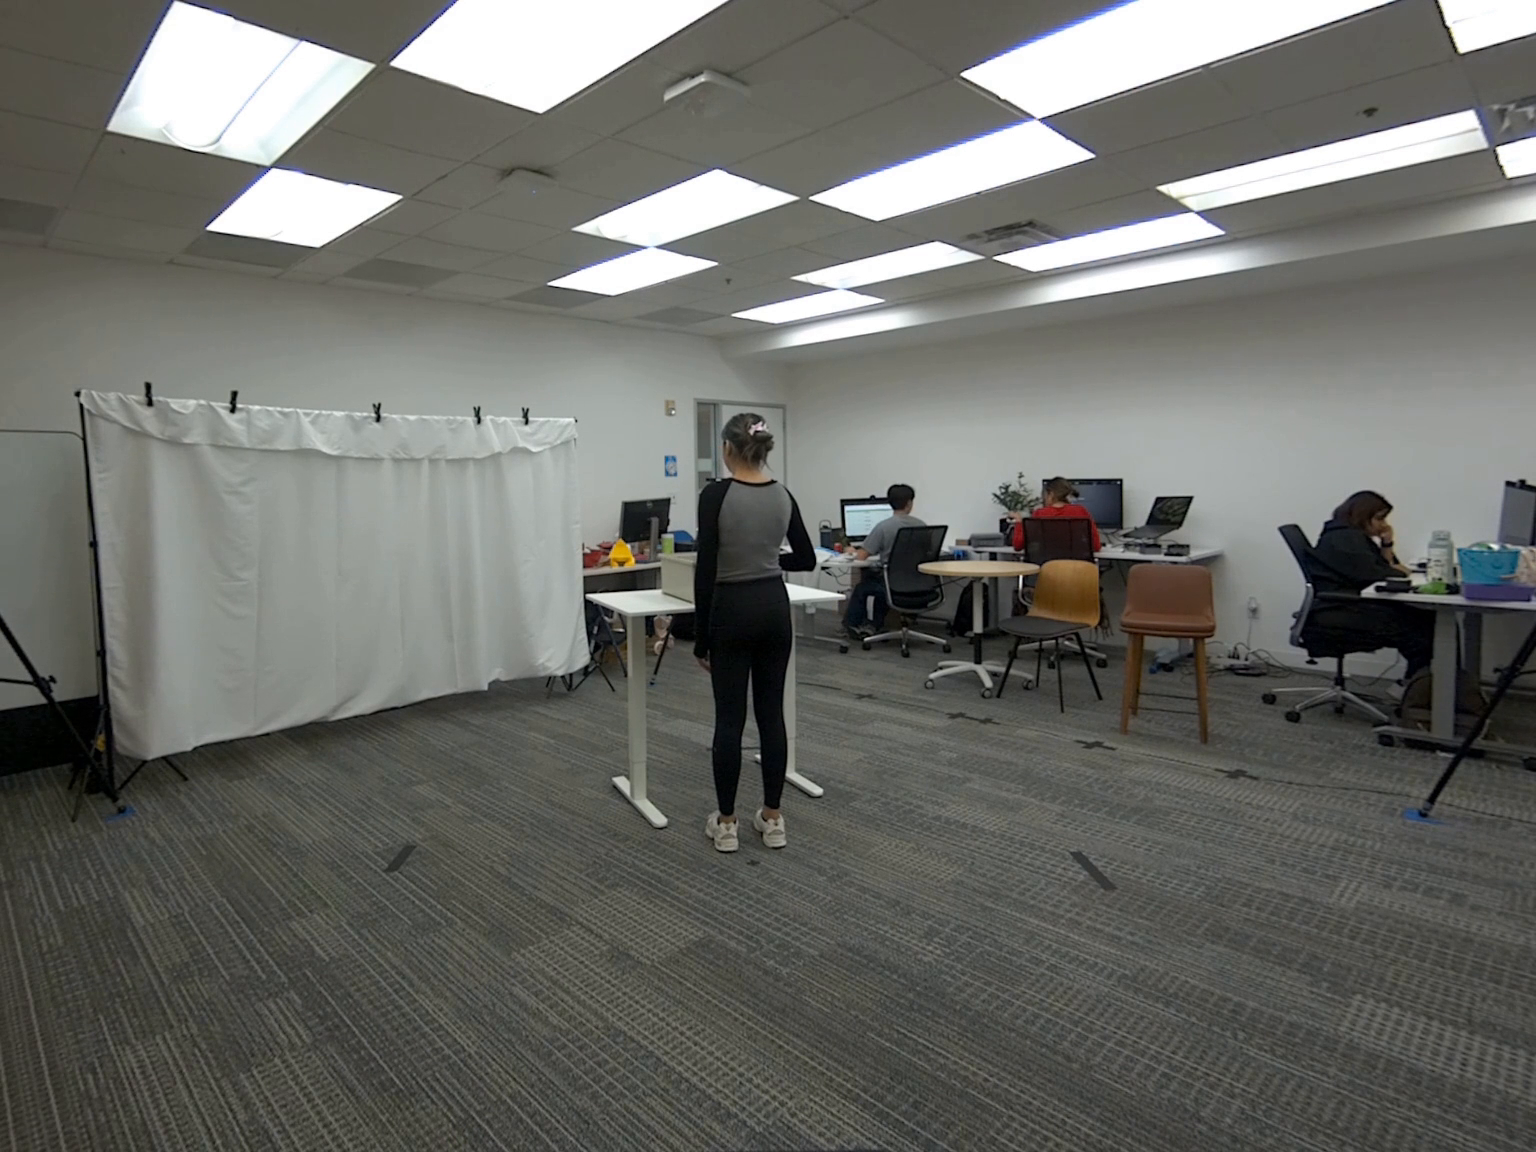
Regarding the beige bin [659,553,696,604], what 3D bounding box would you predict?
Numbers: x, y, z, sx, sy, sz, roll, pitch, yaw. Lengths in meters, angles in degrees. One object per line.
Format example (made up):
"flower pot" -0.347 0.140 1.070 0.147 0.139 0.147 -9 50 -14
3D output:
"beige bin" -0.225 0.006 3.745 0.369 0.188 0.434 -5 8 -26
